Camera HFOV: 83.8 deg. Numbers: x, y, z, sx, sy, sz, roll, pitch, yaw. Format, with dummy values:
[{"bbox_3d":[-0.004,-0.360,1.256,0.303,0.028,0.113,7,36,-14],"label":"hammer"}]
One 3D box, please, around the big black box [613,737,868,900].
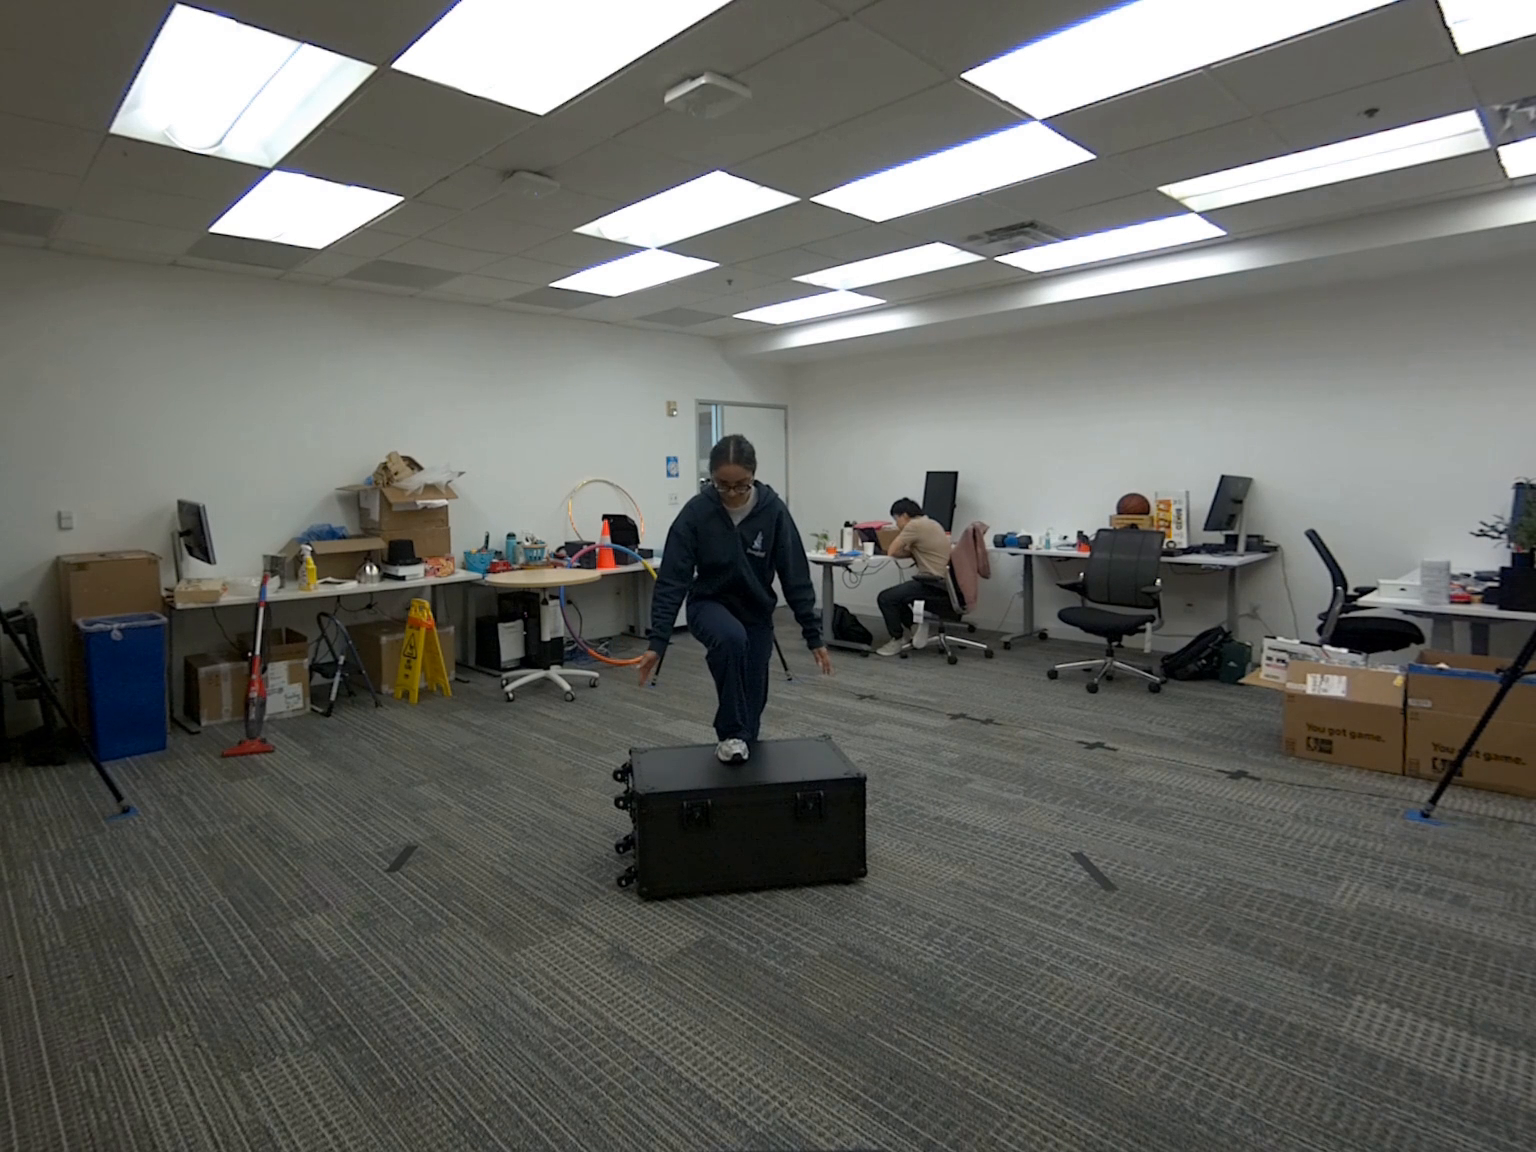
[{"bbox_3d":[-0.126,0.858,3.093,0.854,0.395,0.528,-2,5,-10],"label":"big black box"}]
